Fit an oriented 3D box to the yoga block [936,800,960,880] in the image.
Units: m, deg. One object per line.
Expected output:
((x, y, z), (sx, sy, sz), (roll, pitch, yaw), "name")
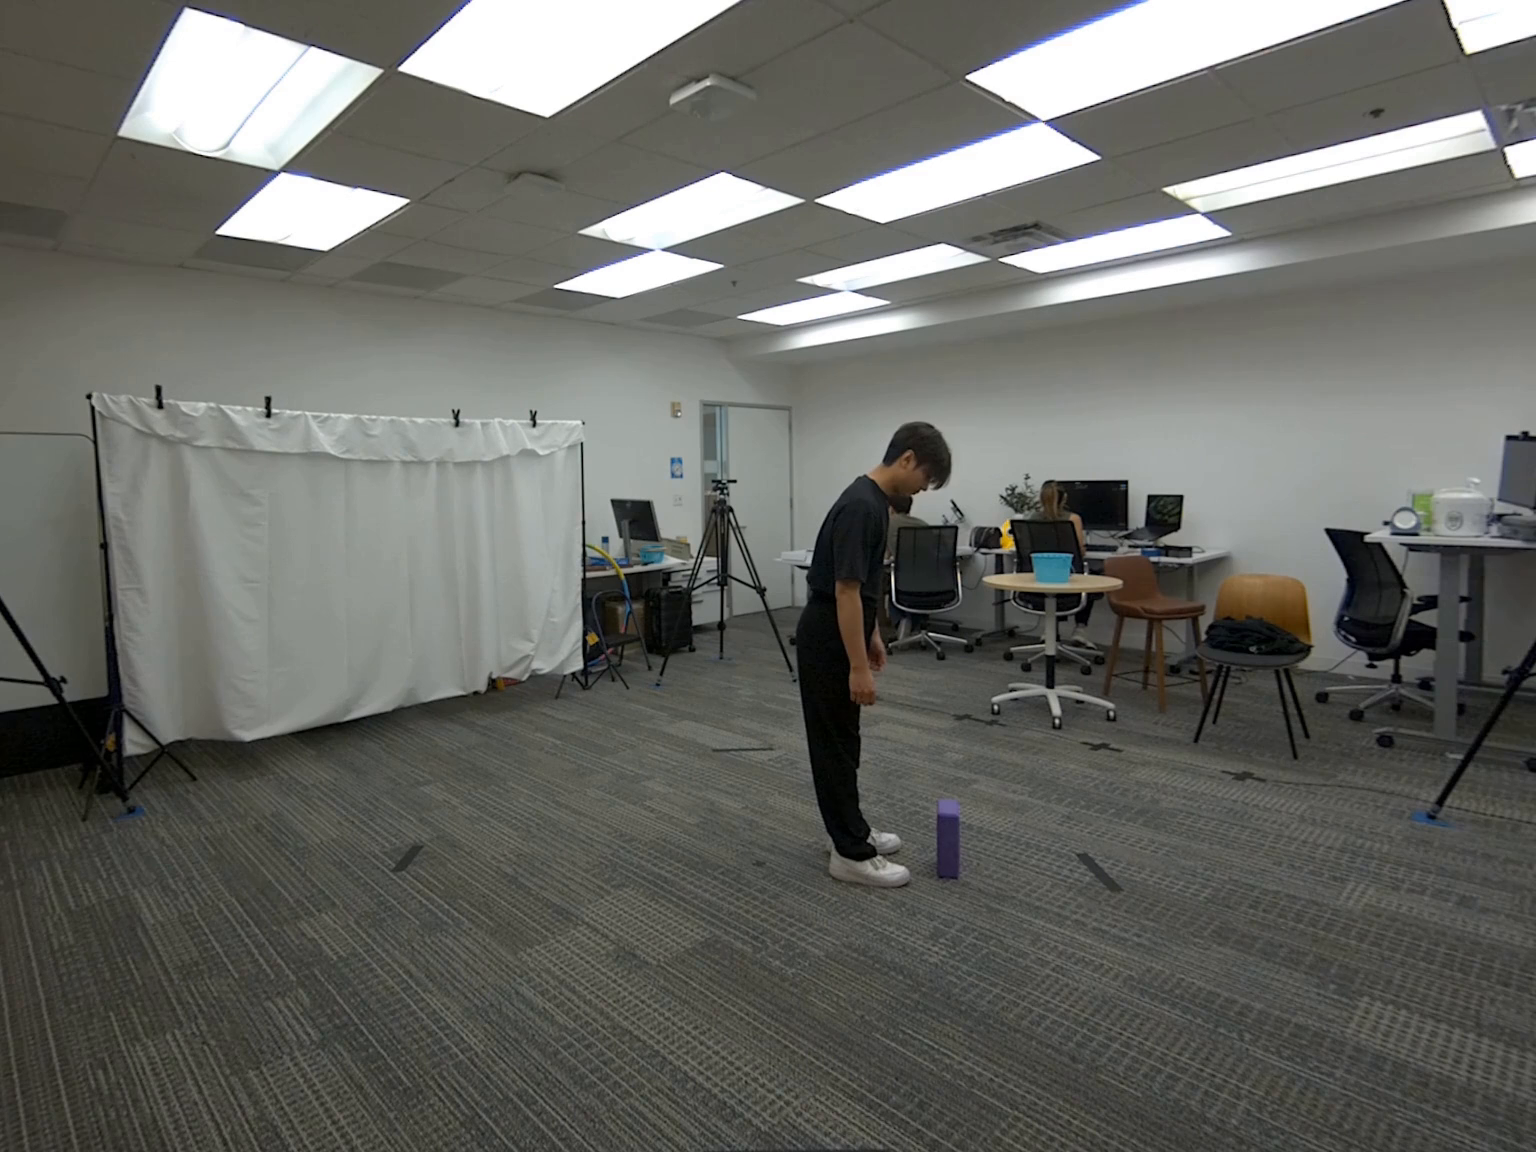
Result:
((0.633, 0.927, 3.025), (0.077, 0.228, 0.148), (1, 4, 9), "yoga block")
